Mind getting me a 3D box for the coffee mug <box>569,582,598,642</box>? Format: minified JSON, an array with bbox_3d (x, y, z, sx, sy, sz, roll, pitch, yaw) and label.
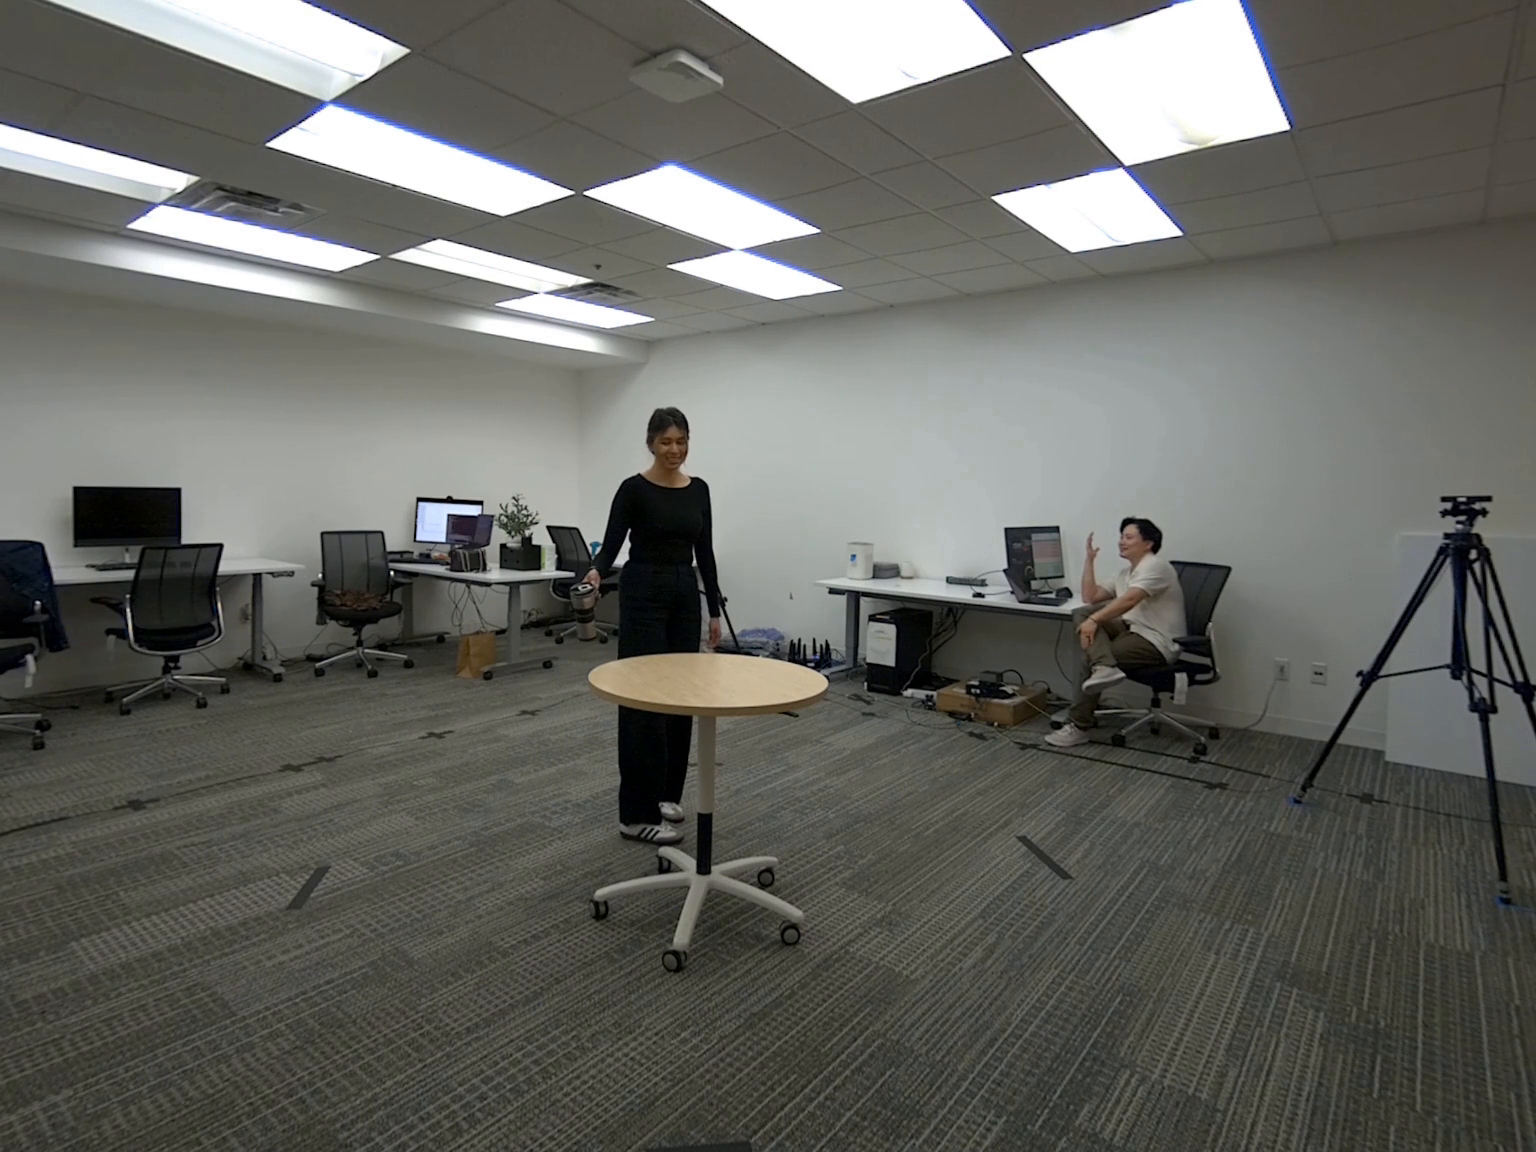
[{"bbox_3d":[-0.661,0.128,3.094,0.091,0.199,0.120,11,26,38],"label":"coffee mug"}]
